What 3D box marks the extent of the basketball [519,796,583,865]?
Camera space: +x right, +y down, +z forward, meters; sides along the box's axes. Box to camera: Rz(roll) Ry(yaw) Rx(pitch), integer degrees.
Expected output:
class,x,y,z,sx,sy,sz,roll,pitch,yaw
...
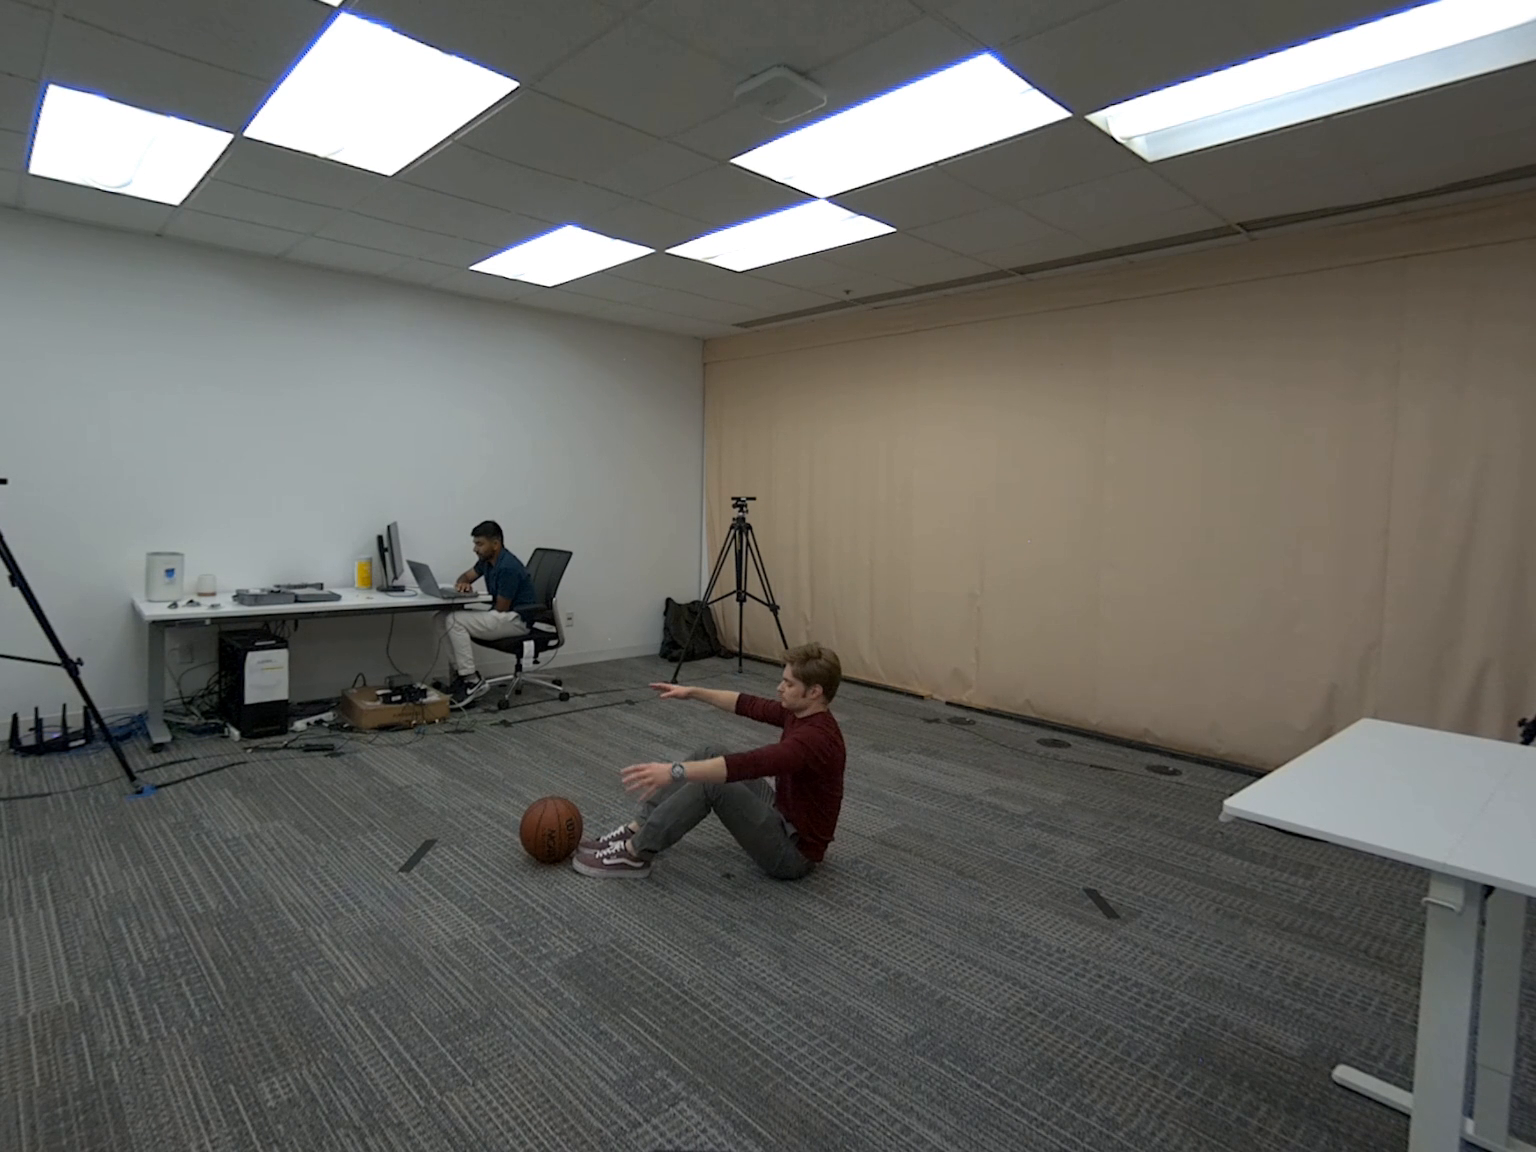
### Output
class,x,y,z,sx,sy,sz,roll,pitch,yaw
basketball,-0.826,0.957,3.206,0.236,0.235,0.237,1,4,-1
